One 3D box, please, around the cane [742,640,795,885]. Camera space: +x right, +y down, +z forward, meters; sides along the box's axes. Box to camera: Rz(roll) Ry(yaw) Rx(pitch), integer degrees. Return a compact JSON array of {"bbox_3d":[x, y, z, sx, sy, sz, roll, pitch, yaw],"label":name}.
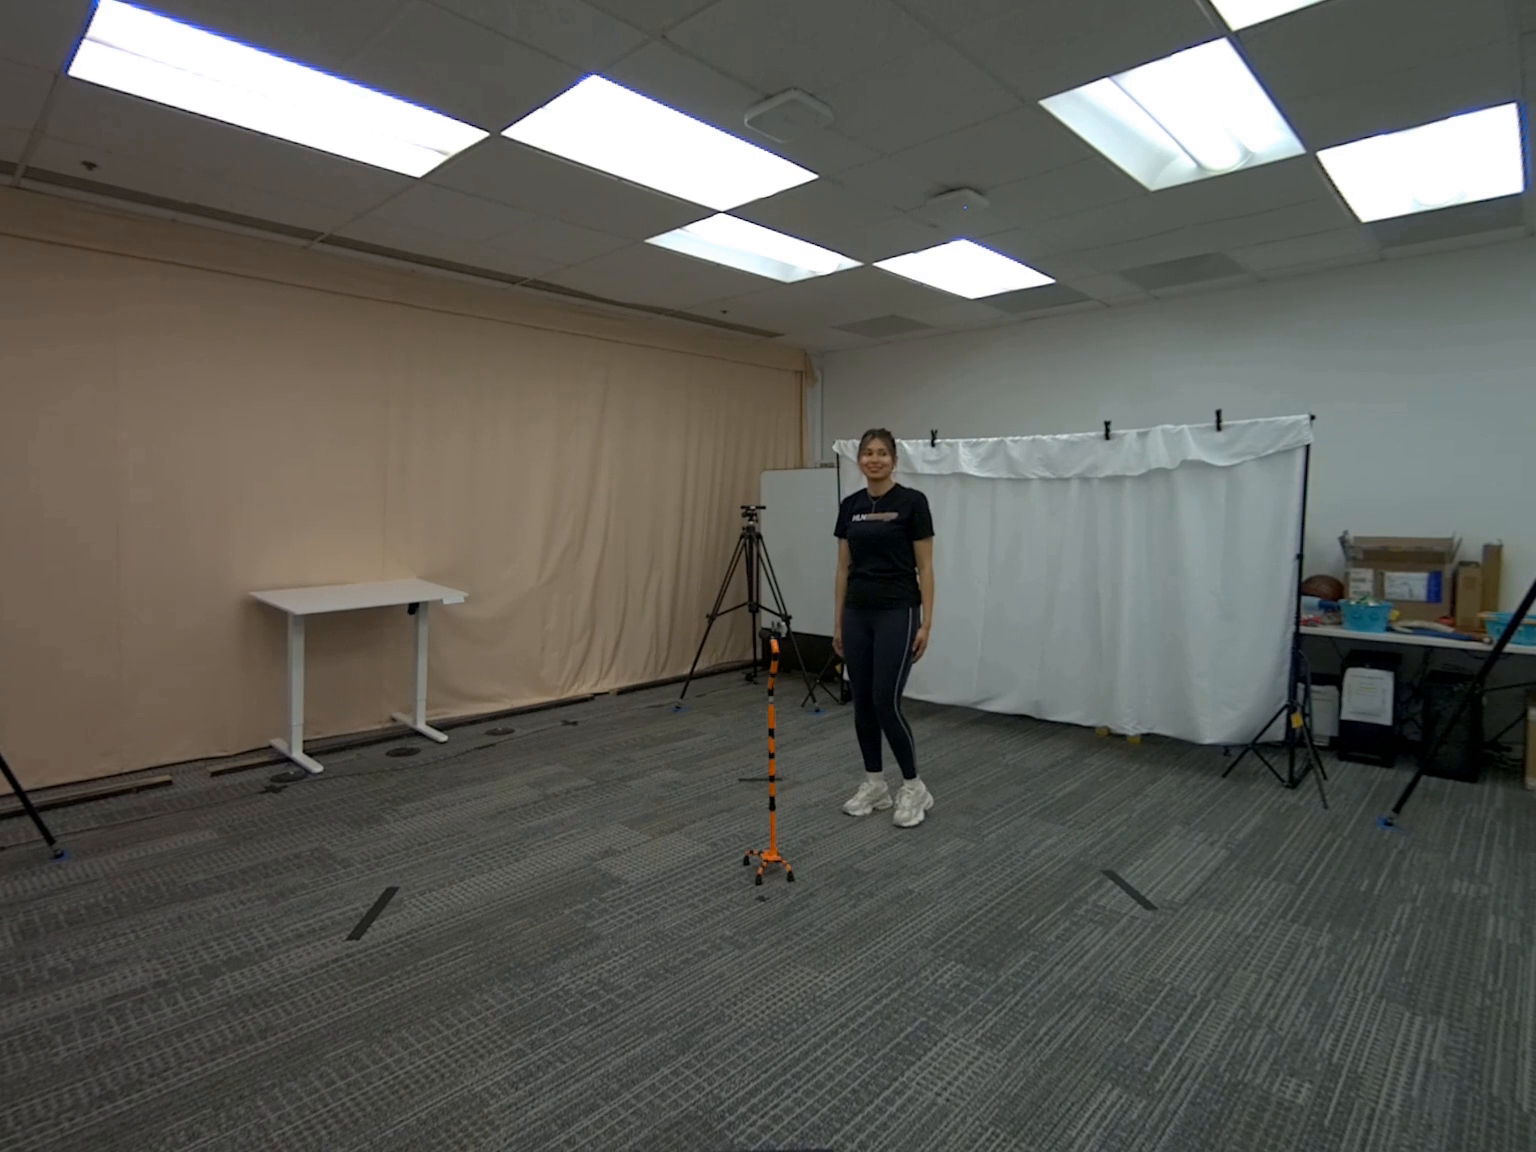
[{"bbox_3d":[0.003,0.674,3.178,0.149,0.906,0.210,0,3,-17],"label":"cane"}]
